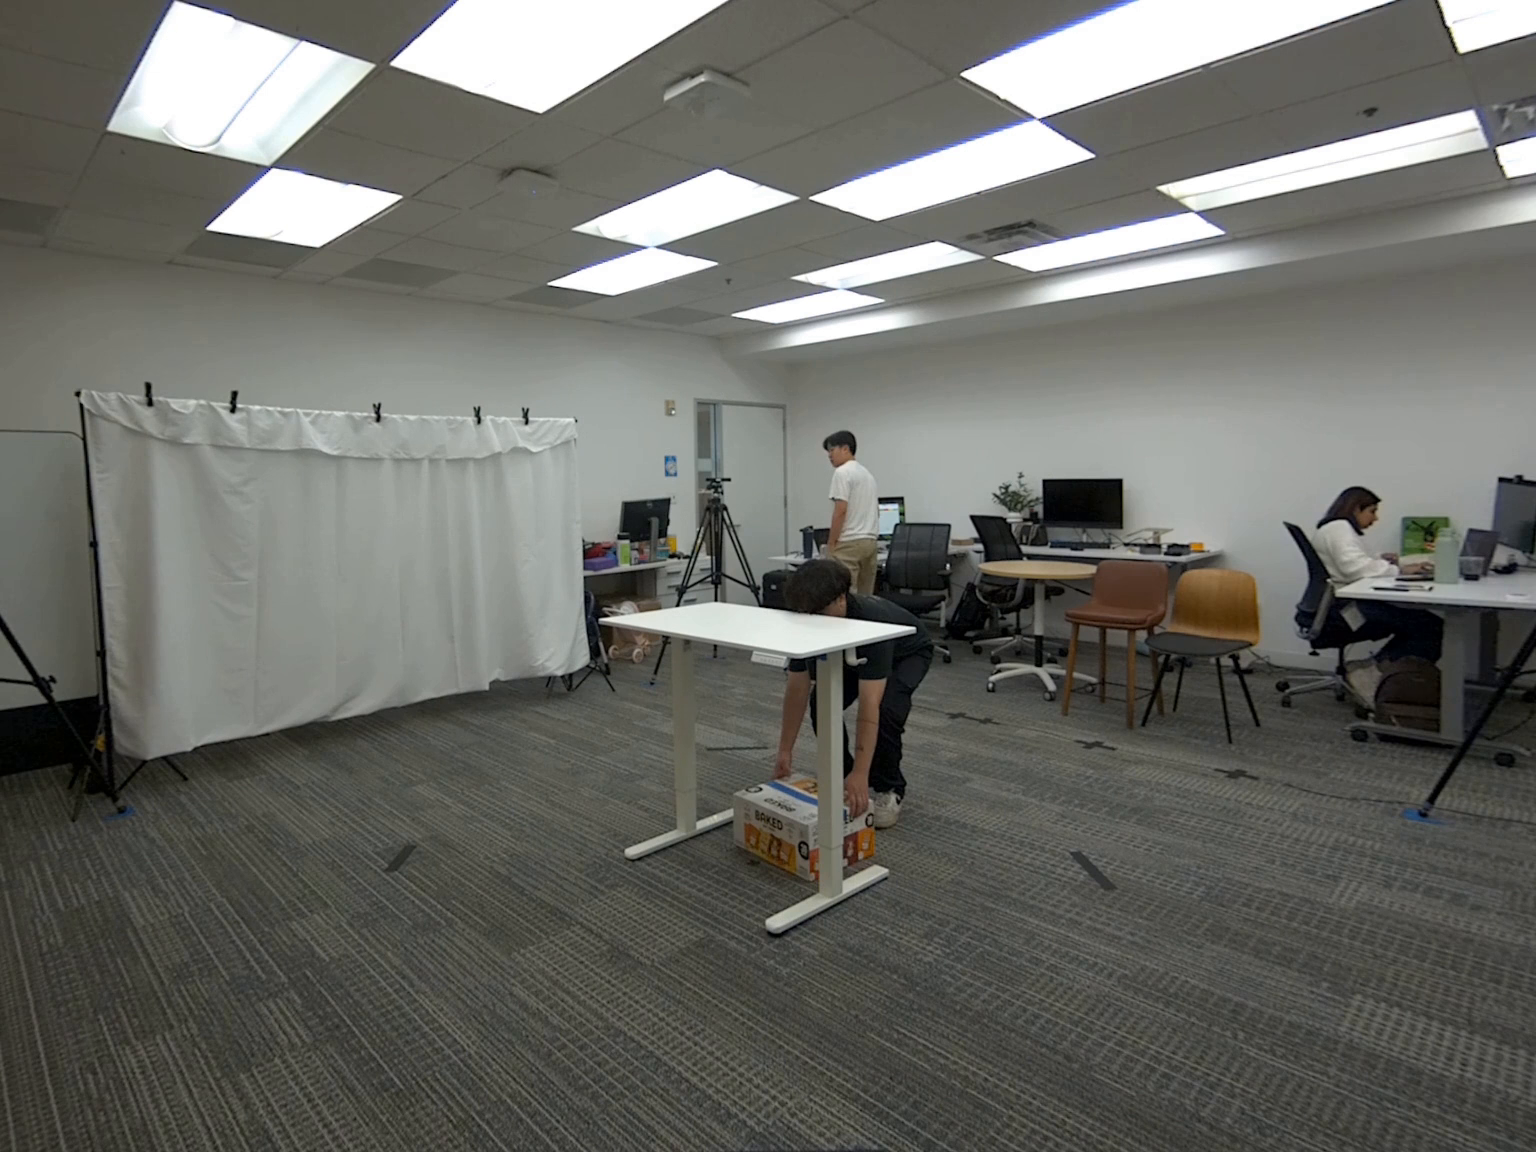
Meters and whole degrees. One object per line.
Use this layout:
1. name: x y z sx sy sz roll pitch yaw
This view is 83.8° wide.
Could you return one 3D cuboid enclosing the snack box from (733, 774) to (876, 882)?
1. snack box: 0.132 0.928 3.200 0.331 0.205 0.418 -5 7 -40
